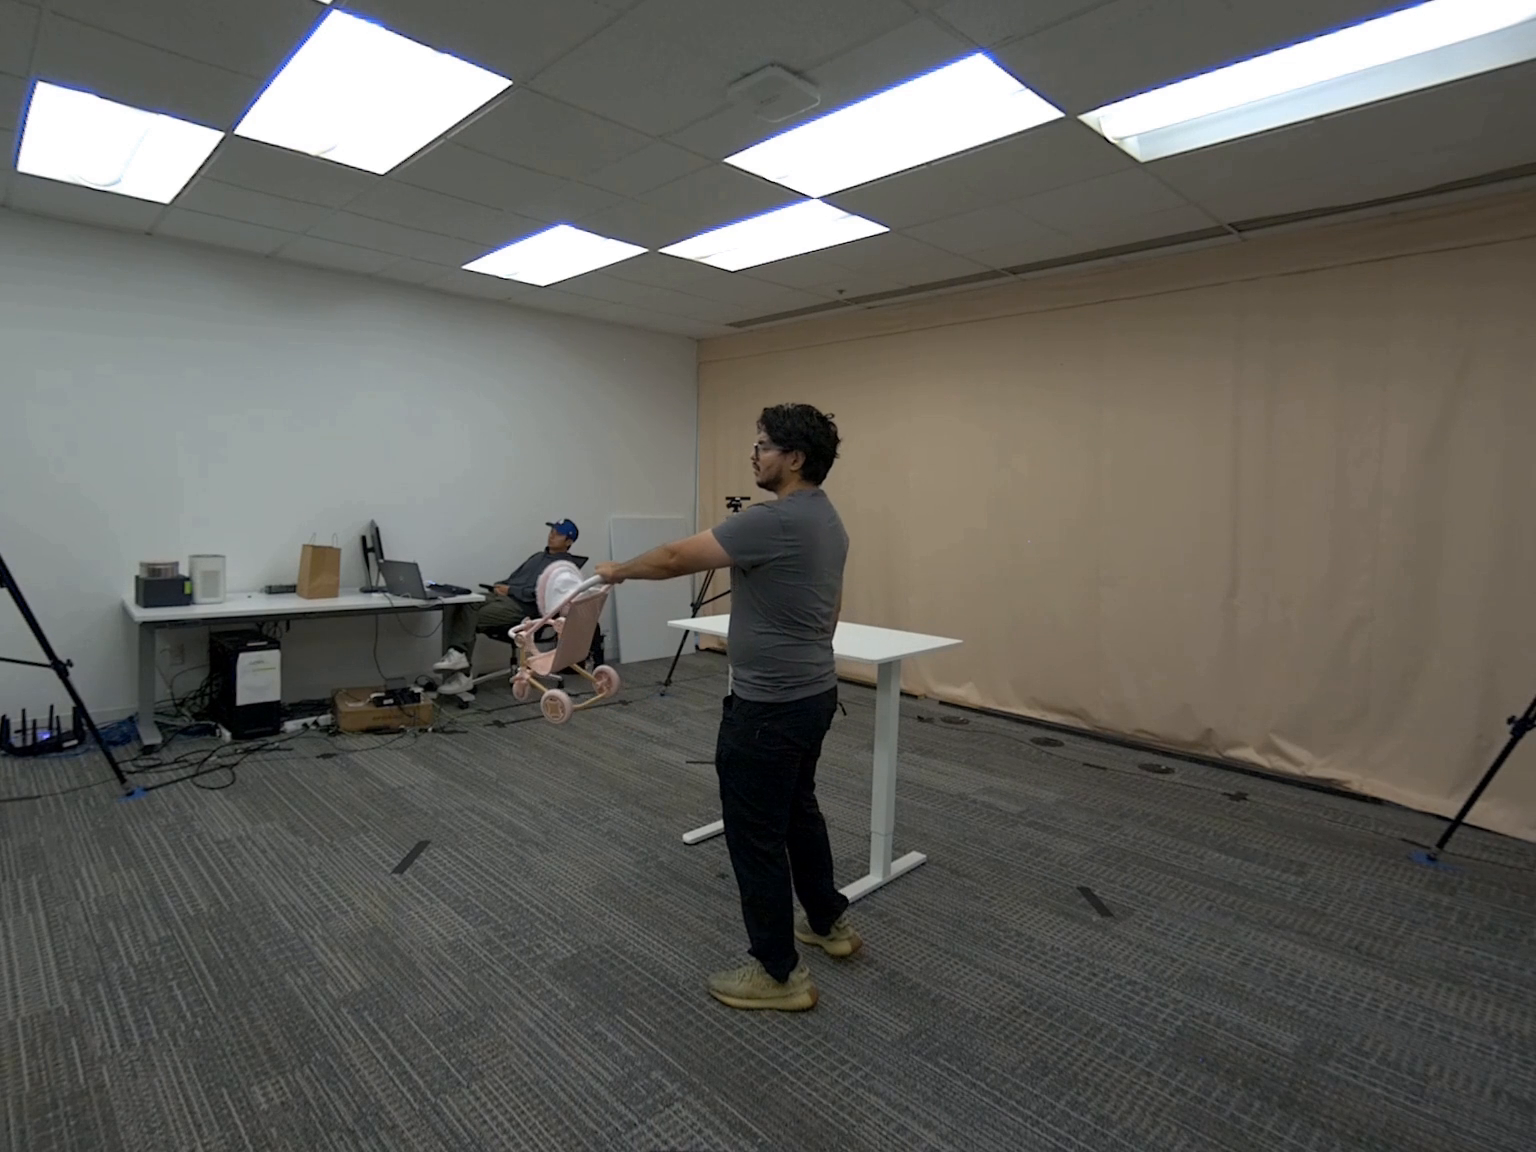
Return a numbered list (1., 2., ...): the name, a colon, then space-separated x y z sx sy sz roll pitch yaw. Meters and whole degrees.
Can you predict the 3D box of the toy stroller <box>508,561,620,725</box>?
1. toy stroller: -0.650 0.197 2.636 0.350 0.530 0.277 18 17 27
